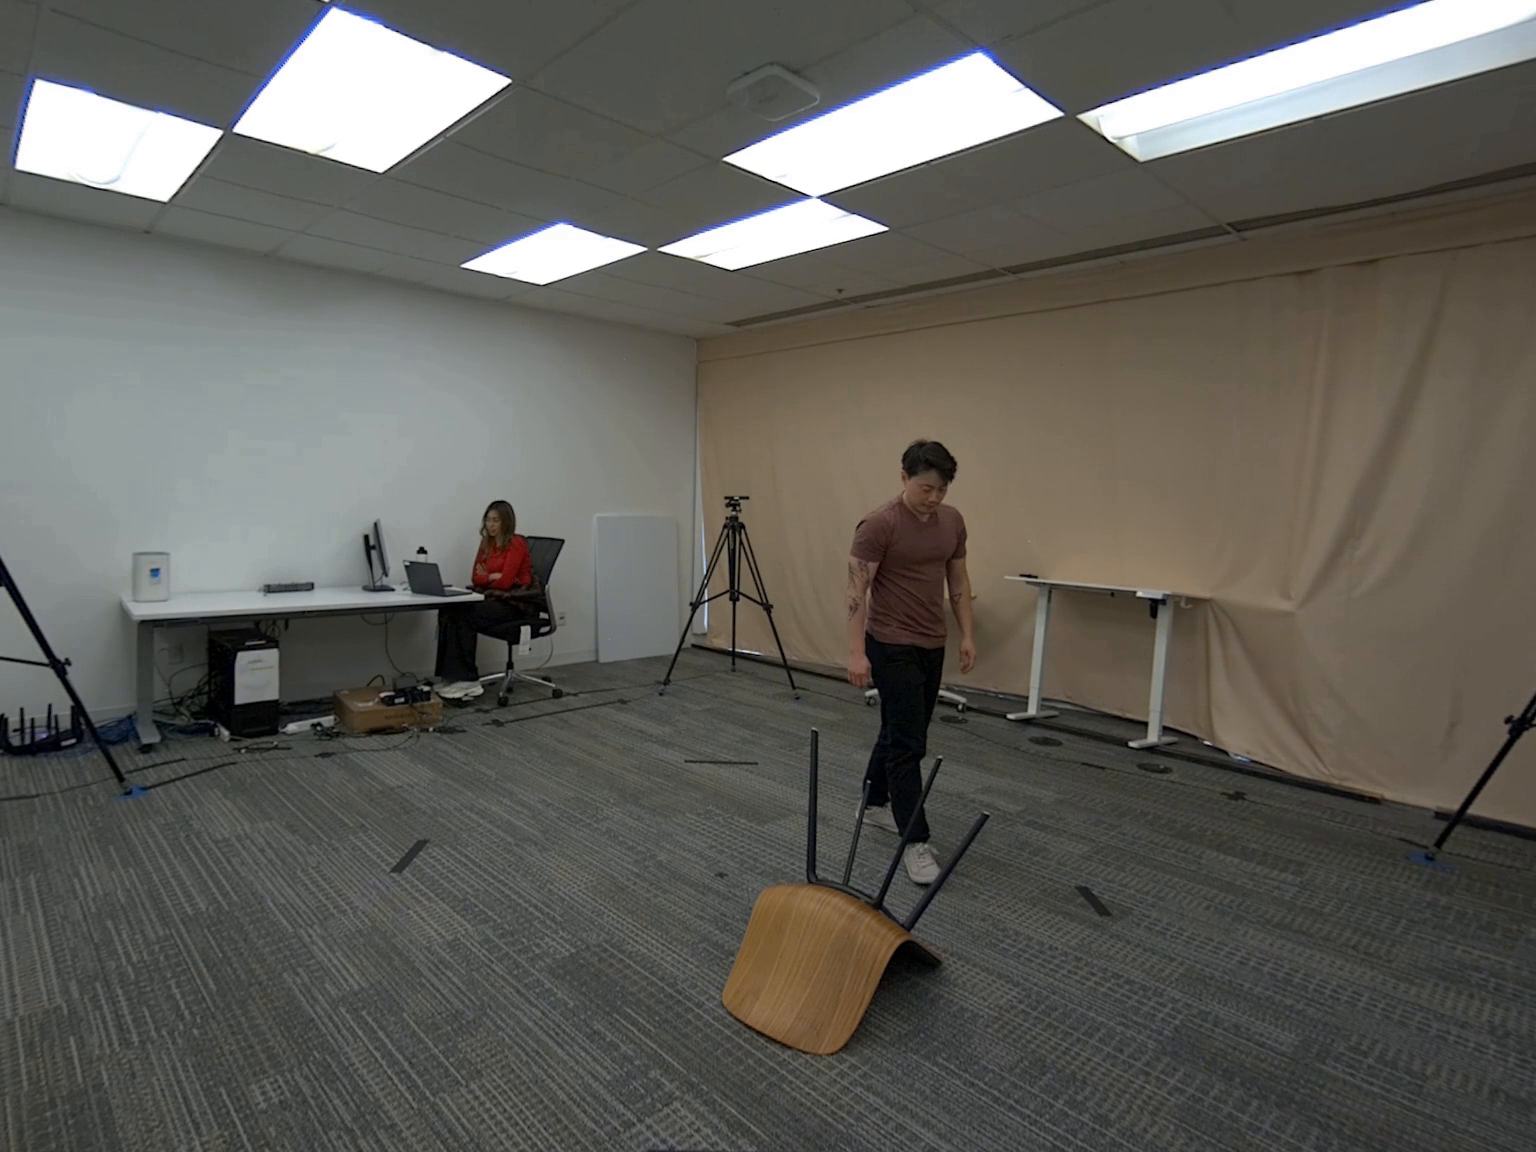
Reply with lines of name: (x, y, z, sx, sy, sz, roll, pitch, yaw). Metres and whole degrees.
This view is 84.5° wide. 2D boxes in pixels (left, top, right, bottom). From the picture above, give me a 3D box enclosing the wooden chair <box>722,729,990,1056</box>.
wooden chair: (0.269, 0.996, 2.538, 0.490, 0.883, 0.507, 5, -35, 37)
